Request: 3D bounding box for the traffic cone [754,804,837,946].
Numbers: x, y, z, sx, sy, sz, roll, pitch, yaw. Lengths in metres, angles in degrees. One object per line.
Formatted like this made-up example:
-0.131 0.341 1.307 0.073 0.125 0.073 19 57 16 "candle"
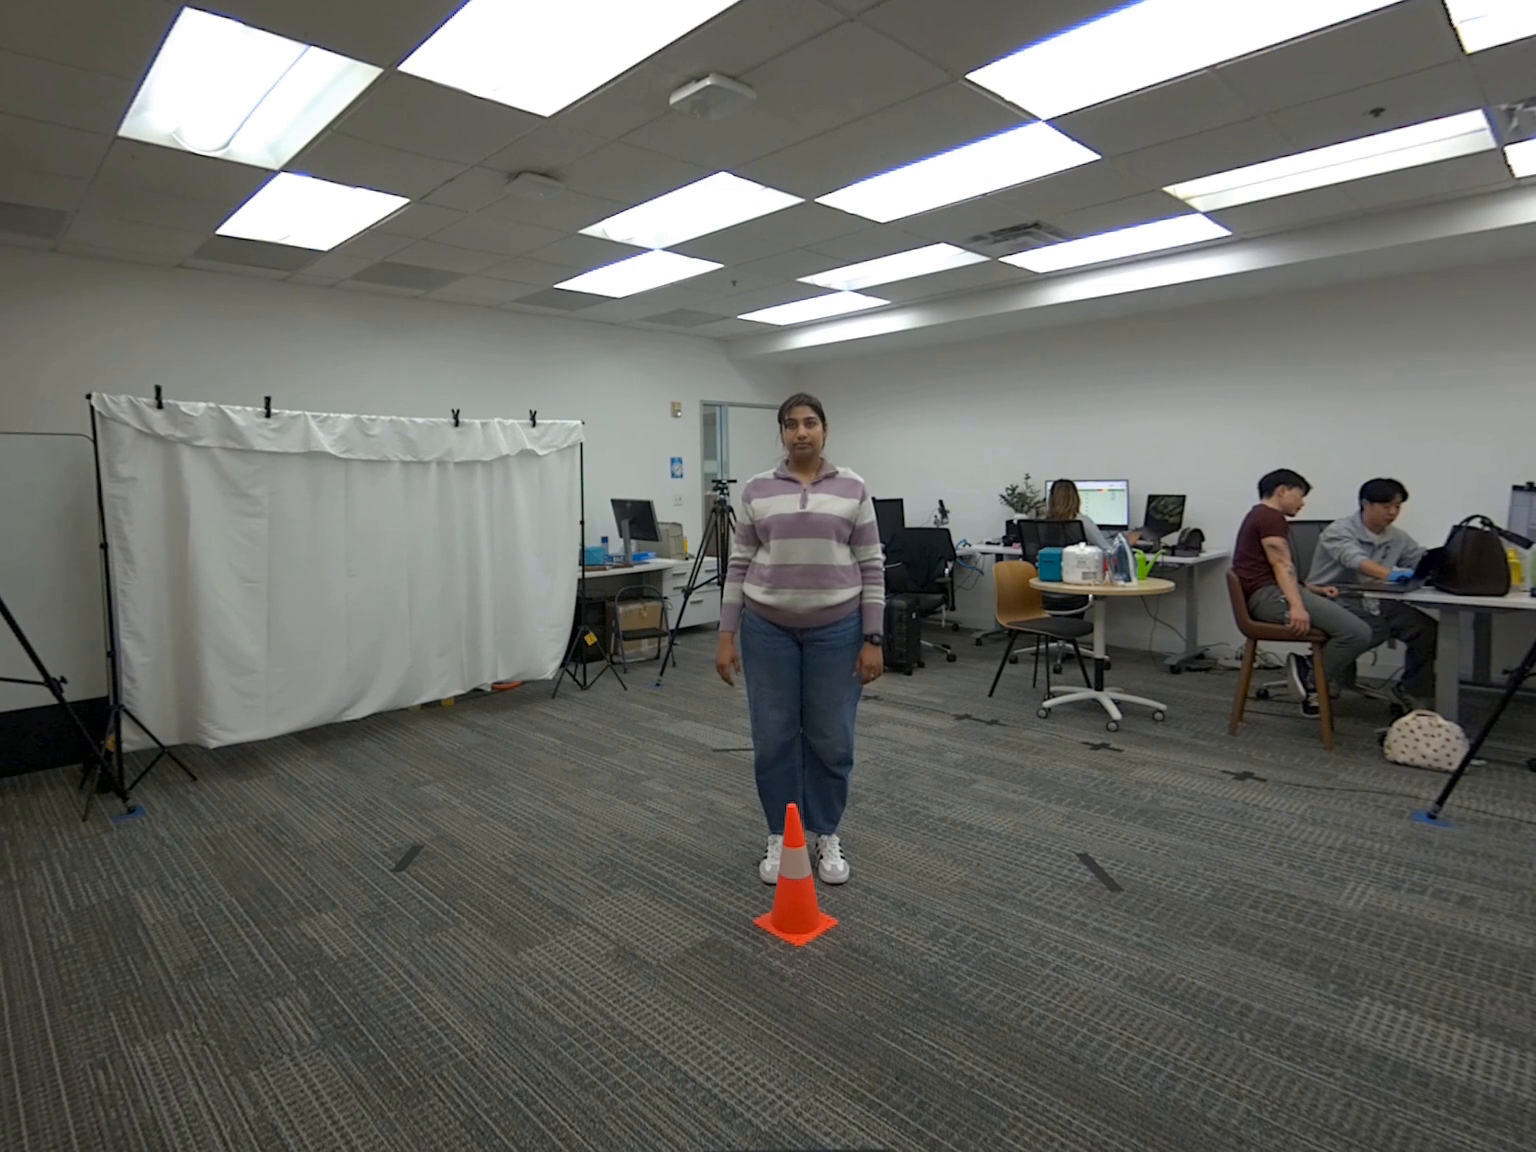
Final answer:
0.089 0.912 2.681 0.211 0.382 0.198 2 5 40 "traffic cone"
